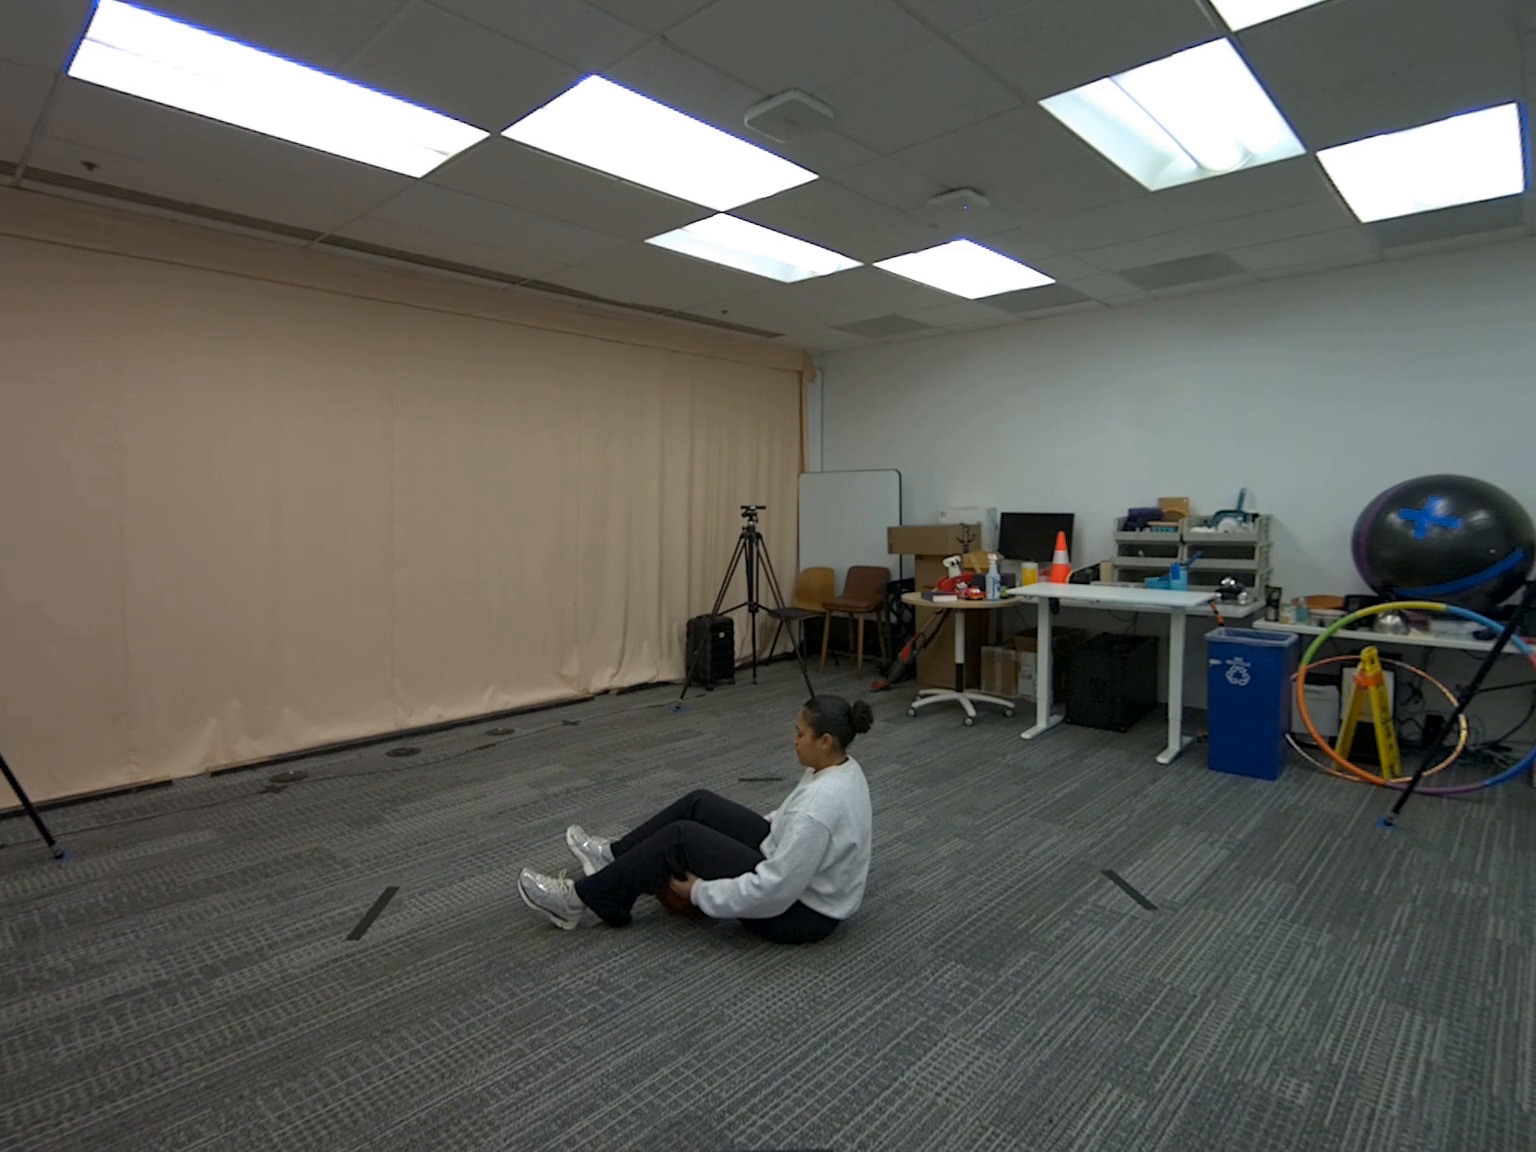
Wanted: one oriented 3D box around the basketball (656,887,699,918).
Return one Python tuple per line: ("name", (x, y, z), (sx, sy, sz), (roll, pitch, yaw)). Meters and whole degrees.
("basketball", (-0.277, 1.030, 2.897), (0.236, 0.235, 0.237), (0, 4, -2))
